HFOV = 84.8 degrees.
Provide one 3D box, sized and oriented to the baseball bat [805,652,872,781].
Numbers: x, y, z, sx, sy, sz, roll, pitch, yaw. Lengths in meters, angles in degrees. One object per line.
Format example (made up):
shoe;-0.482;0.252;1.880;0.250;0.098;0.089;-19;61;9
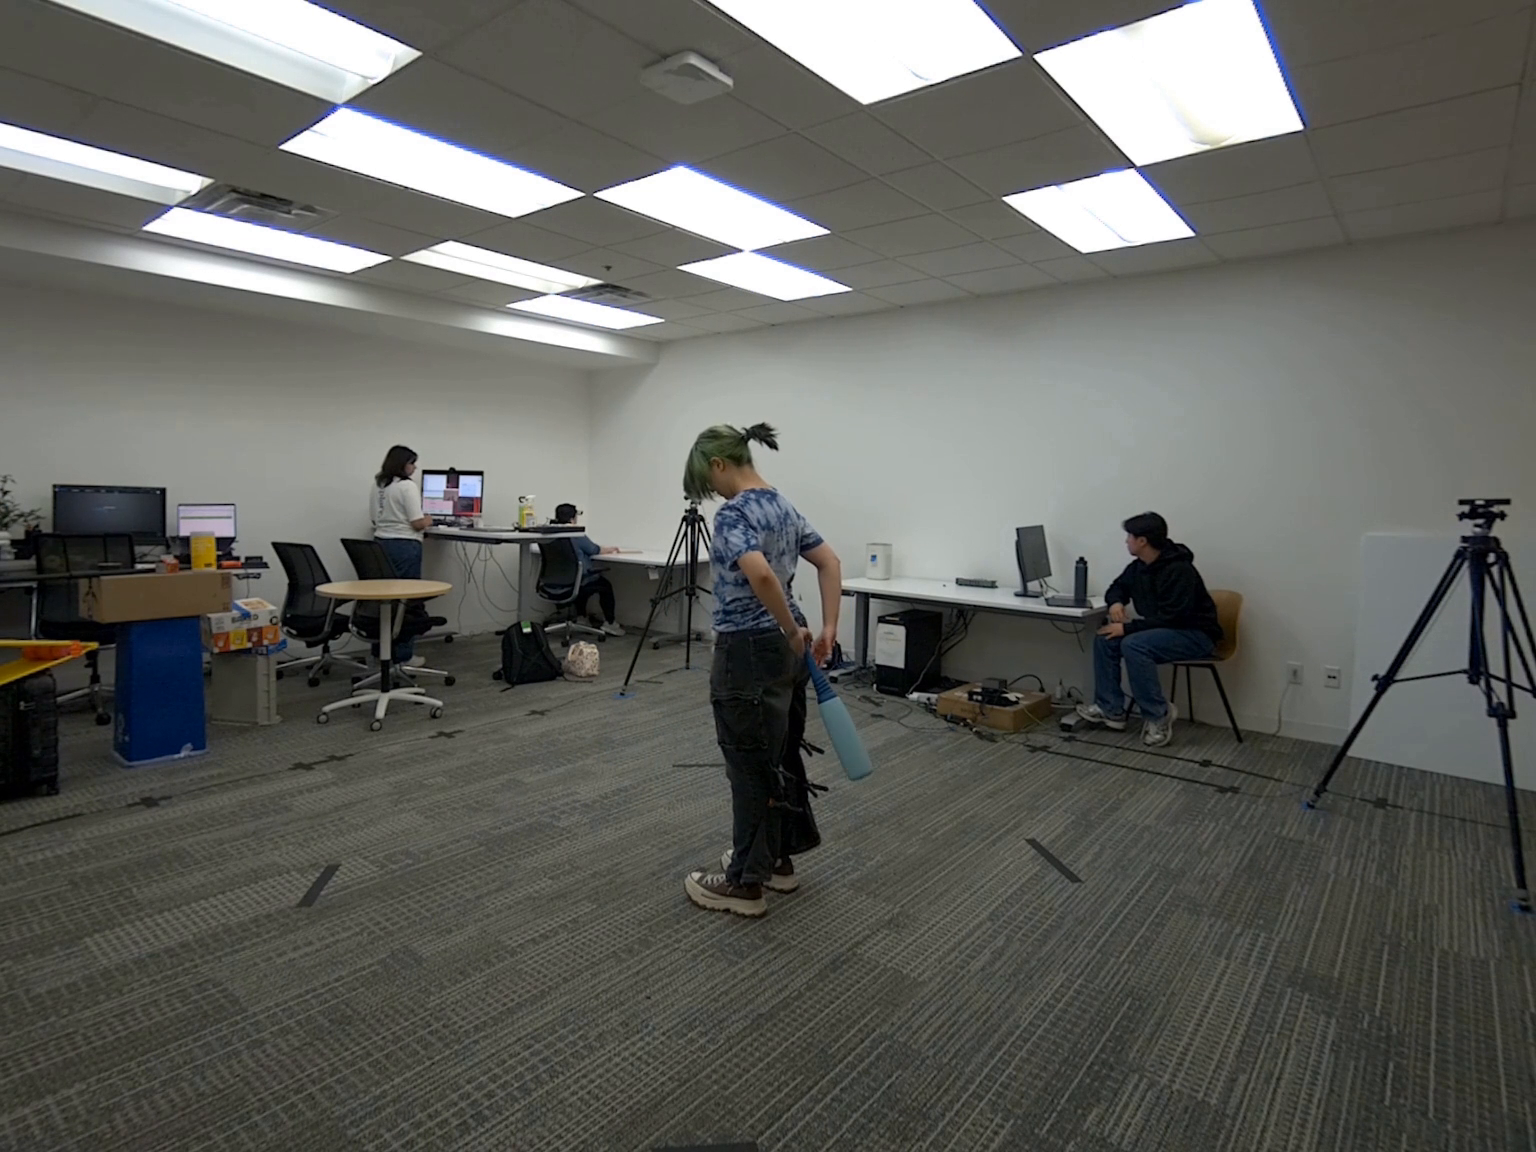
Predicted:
baseball bat;0.165;0.376;2.670;0.088;0.555;0.087;-22;-16;-8
